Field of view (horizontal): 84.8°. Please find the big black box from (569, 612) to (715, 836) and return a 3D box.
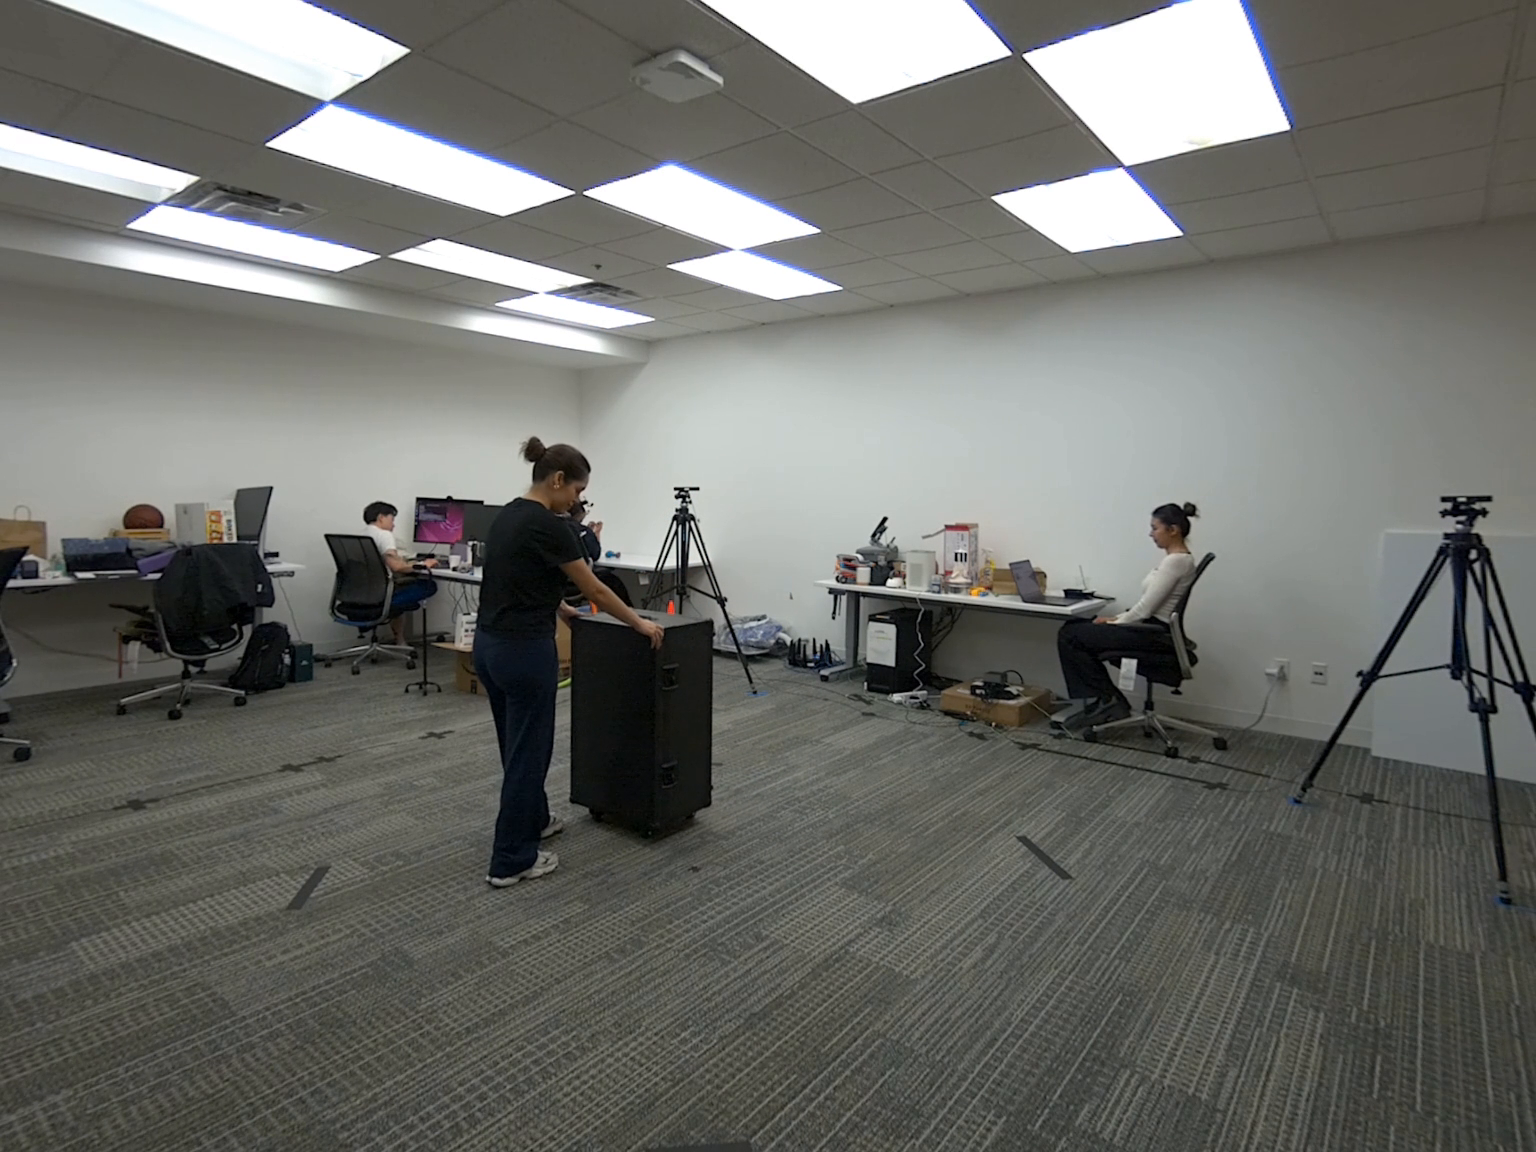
[{"bbox_3d":[-0.509,0.589,3.555,0.538,0.860,0.384,3,3,38],"label":"big black box"}]
